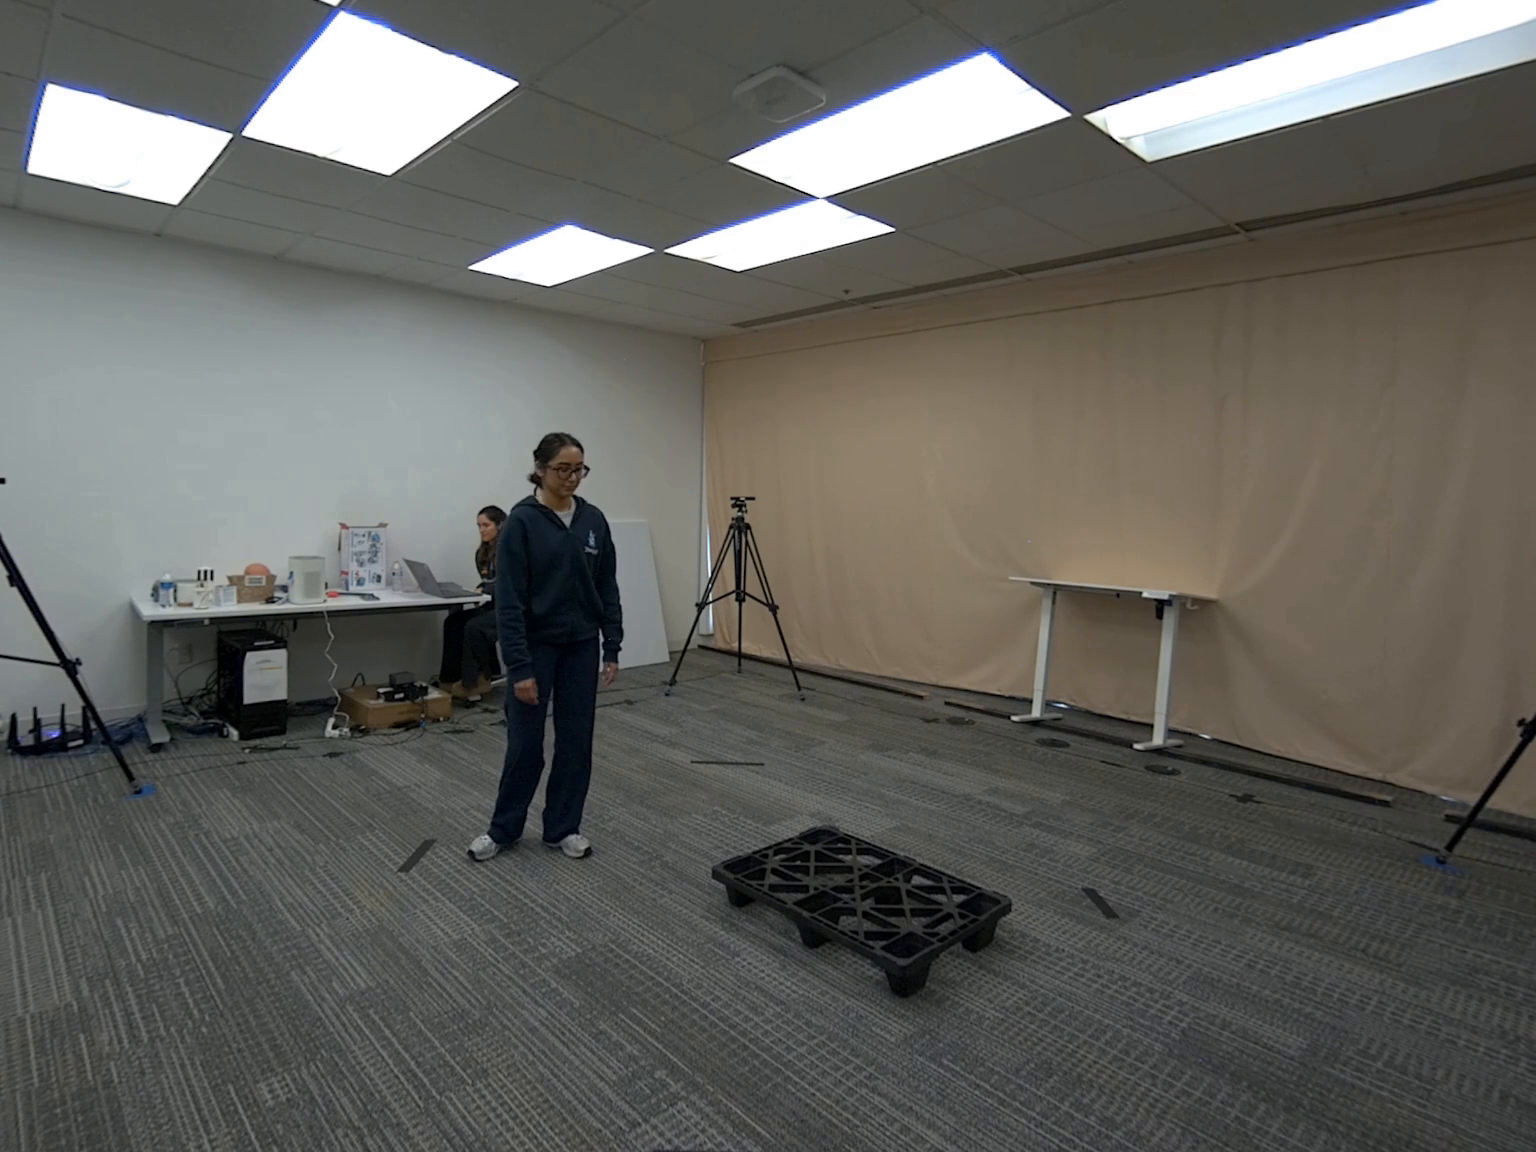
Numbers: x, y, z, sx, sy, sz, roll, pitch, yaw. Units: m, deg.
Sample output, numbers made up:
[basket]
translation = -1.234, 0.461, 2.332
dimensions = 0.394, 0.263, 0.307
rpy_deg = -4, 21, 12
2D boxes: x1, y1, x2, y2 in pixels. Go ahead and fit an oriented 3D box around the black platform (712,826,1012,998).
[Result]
[black platform]
translation = 0.285, 1.080, 2.791
dimensions = 0.591, 0.143, 0.827
rpy_deg = -3, 7, -44
